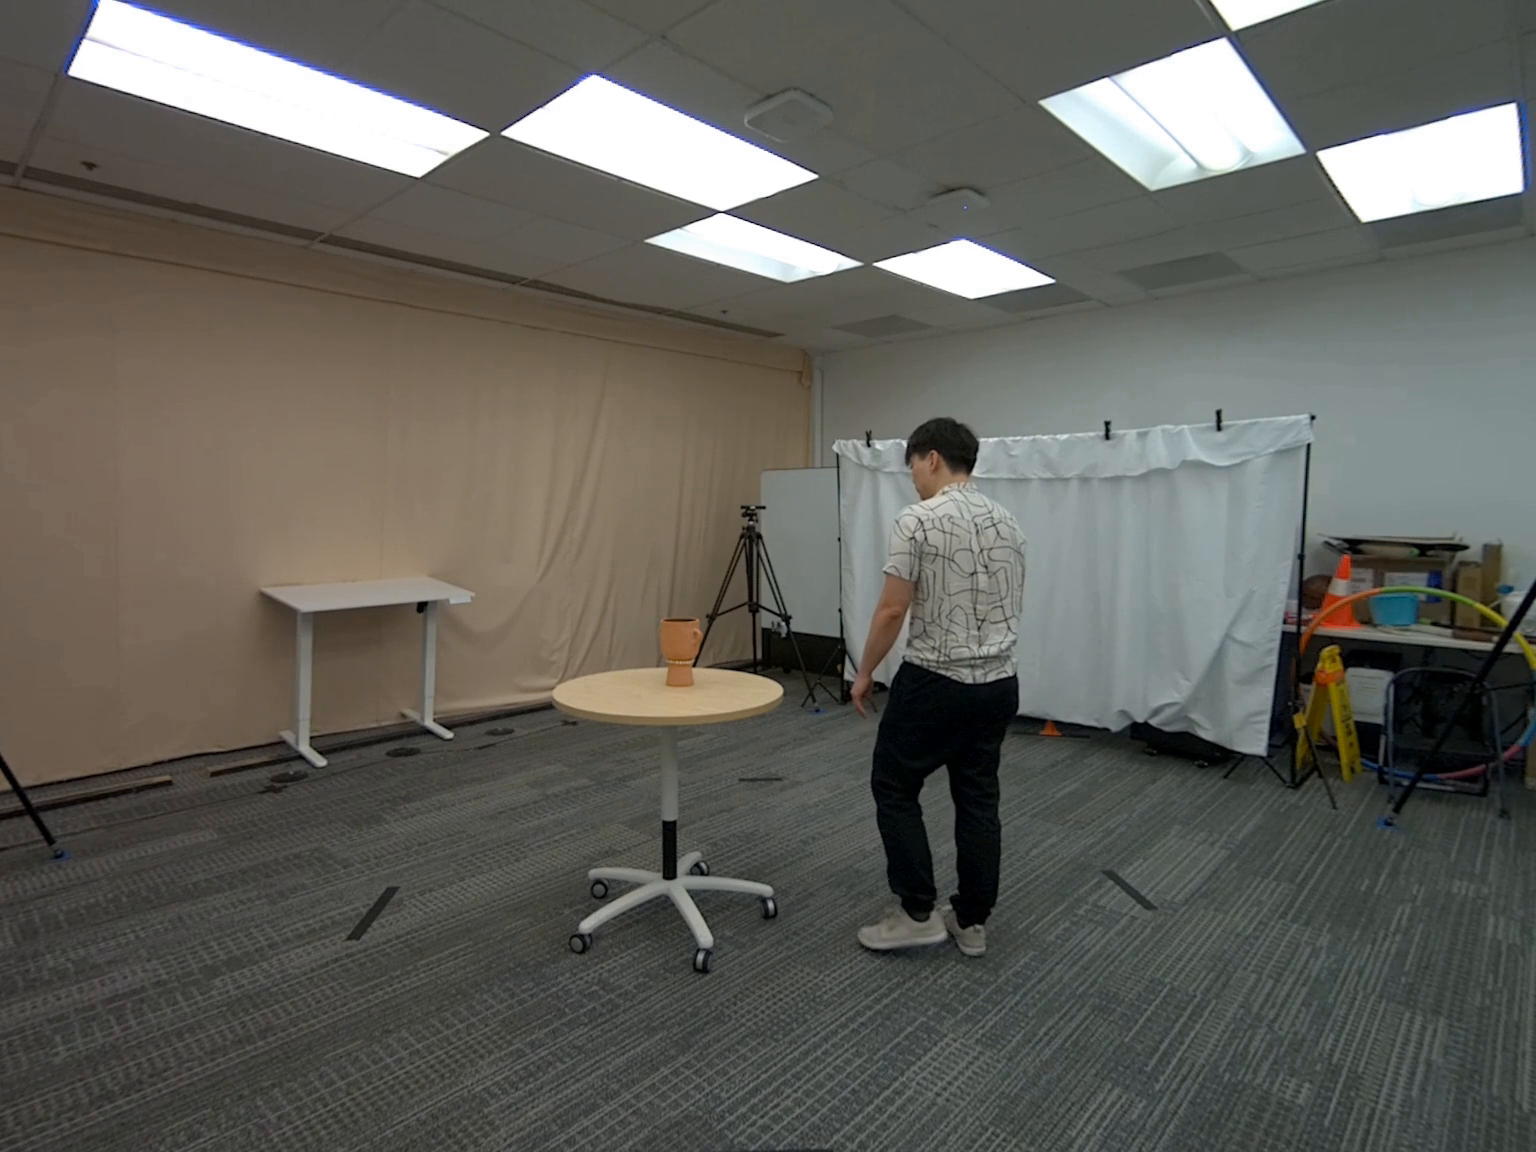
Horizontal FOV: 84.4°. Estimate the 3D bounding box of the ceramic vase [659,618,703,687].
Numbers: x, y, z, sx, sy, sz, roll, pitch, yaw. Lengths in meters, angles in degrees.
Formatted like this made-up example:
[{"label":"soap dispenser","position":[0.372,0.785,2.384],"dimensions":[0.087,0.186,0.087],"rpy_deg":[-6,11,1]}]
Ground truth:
[{"label":"ceramic vase","position":[-0.301,0.265,2.884],"dimensions":[0.133,0.219,0.161],"rpy_deg":[-1,3,-14]}]
